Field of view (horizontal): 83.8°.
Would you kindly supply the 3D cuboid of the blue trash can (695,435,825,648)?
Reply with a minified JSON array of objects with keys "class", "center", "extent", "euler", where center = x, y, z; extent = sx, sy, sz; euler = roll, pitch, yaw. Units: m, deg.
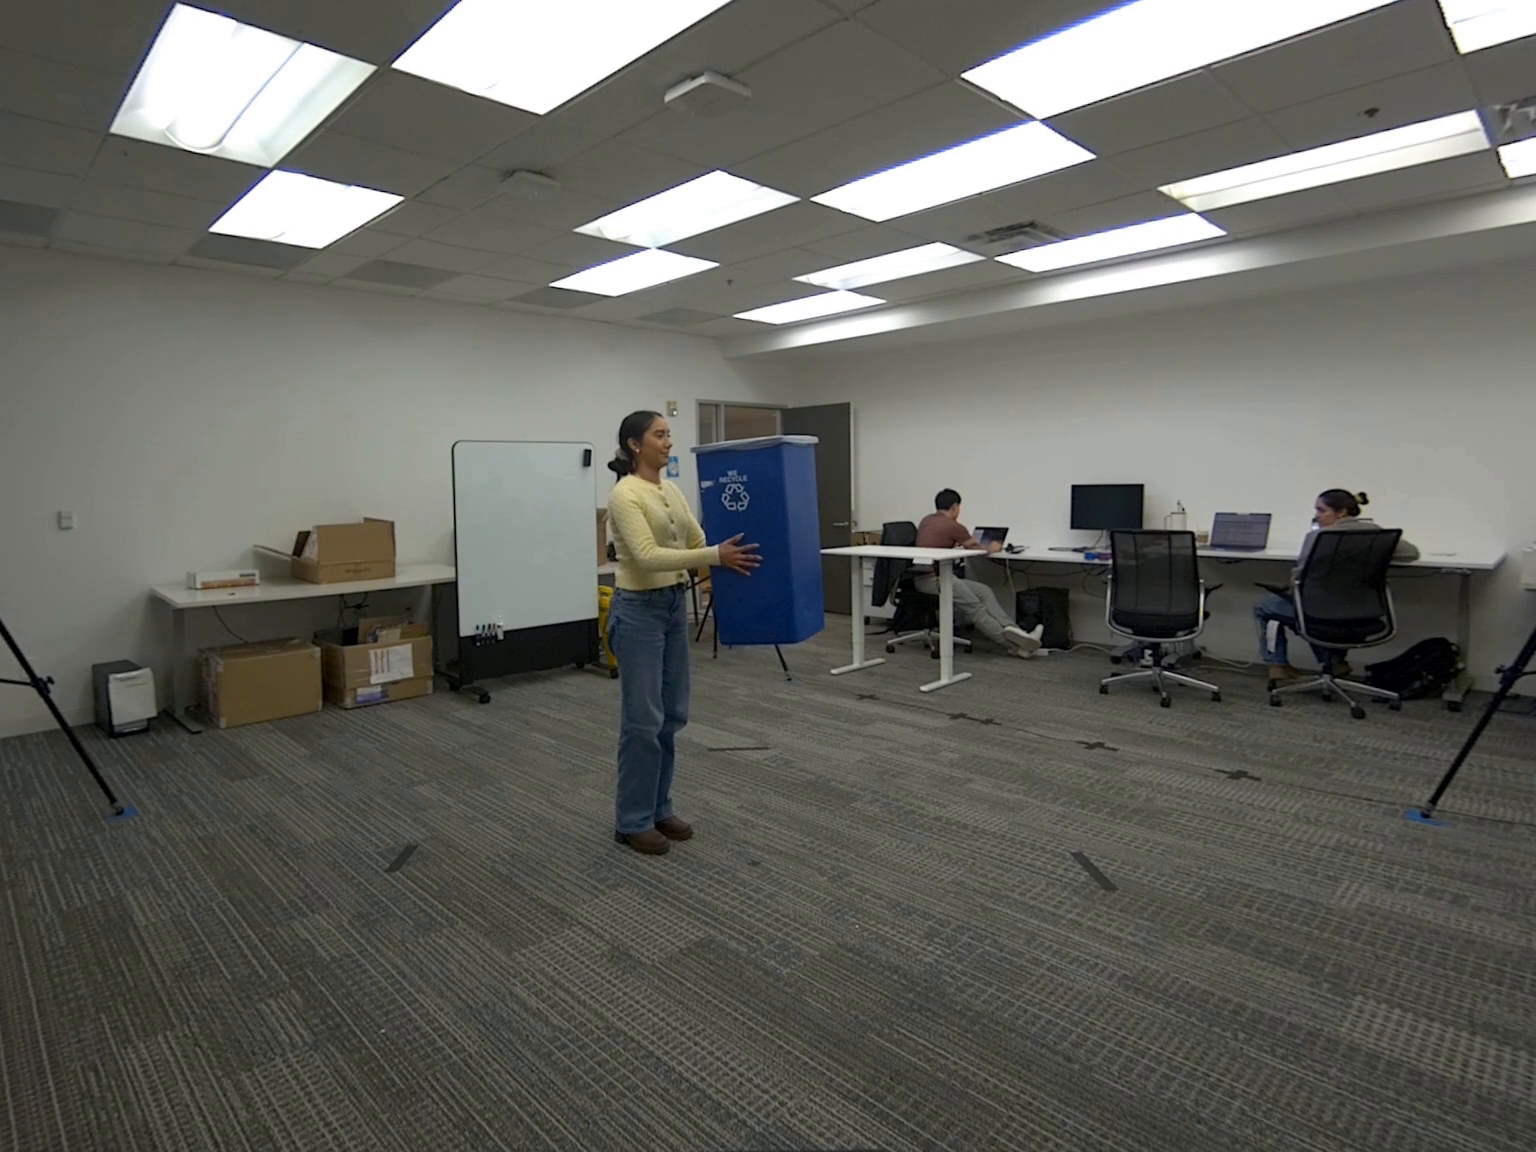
[{"class":"blue trash can","center":[-0.009,-0.133,3.099],"extent":[0.381,0.711,0.372],"euler":[-4,4,23]}]
